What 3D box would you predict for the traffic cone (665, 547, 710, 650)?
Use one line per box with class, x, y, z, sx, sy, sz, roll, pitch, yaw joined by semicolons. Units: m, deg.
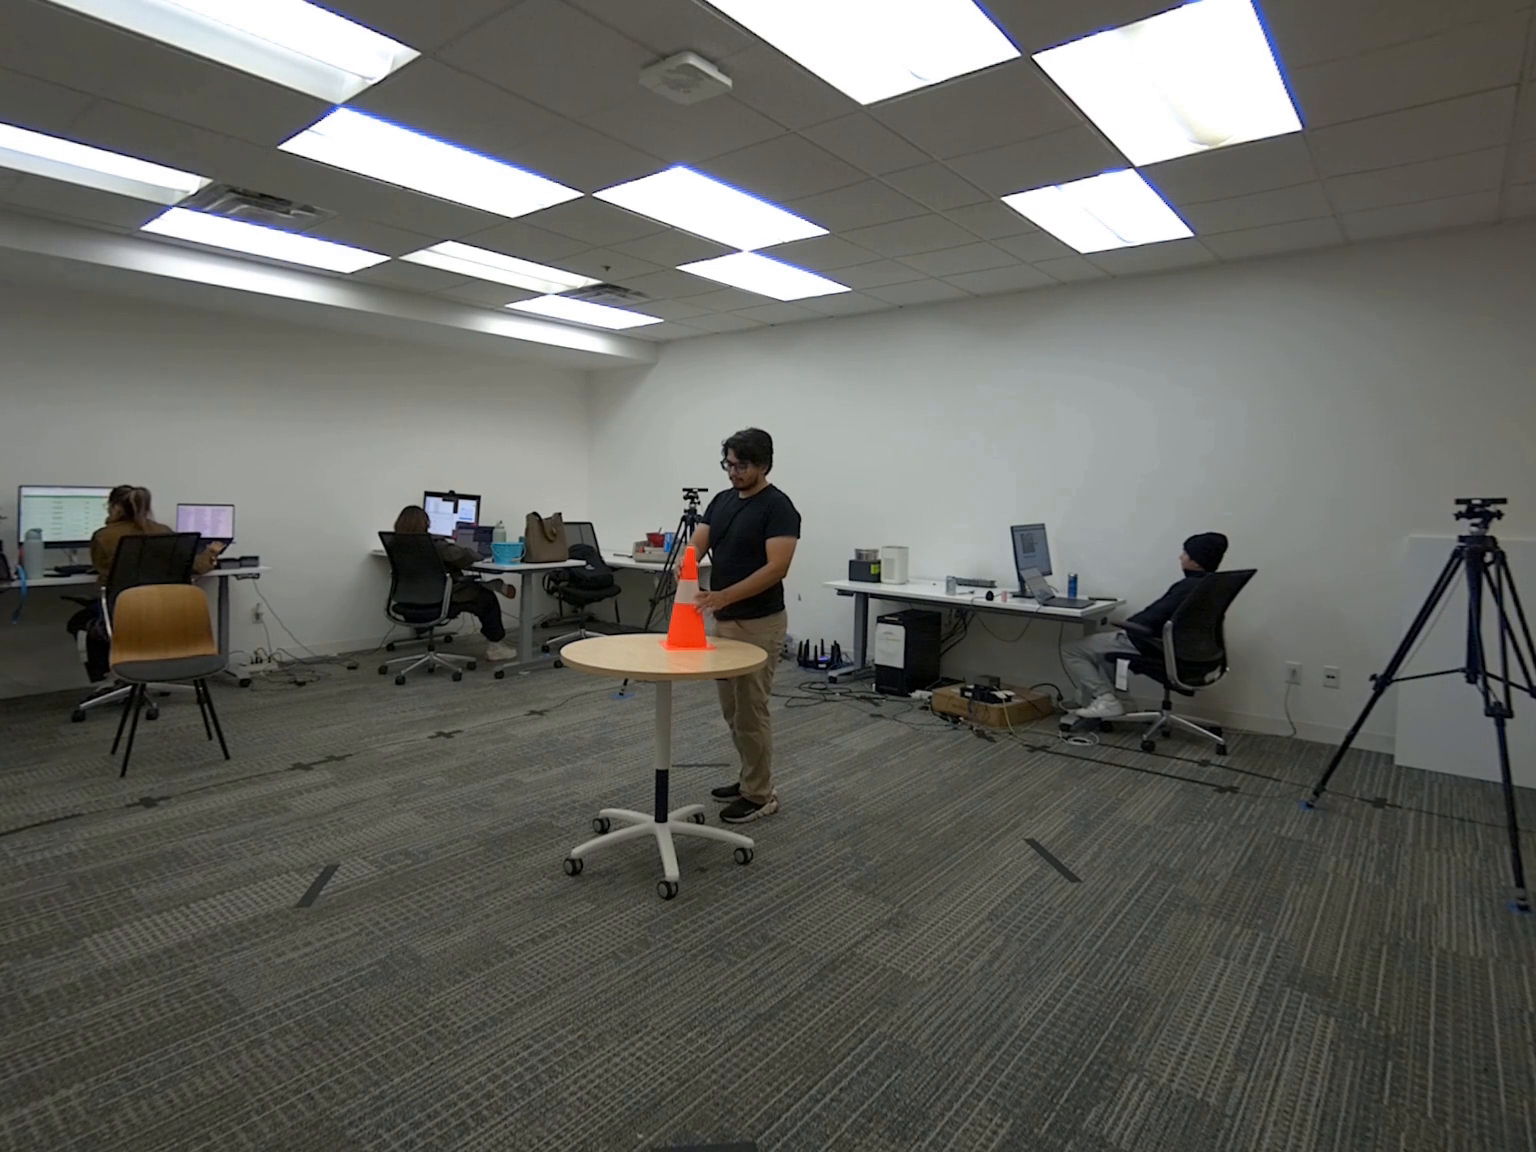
traffic cone;-0.323;0.078;3.302;0.200;0.383;0.209;2;3;-17
